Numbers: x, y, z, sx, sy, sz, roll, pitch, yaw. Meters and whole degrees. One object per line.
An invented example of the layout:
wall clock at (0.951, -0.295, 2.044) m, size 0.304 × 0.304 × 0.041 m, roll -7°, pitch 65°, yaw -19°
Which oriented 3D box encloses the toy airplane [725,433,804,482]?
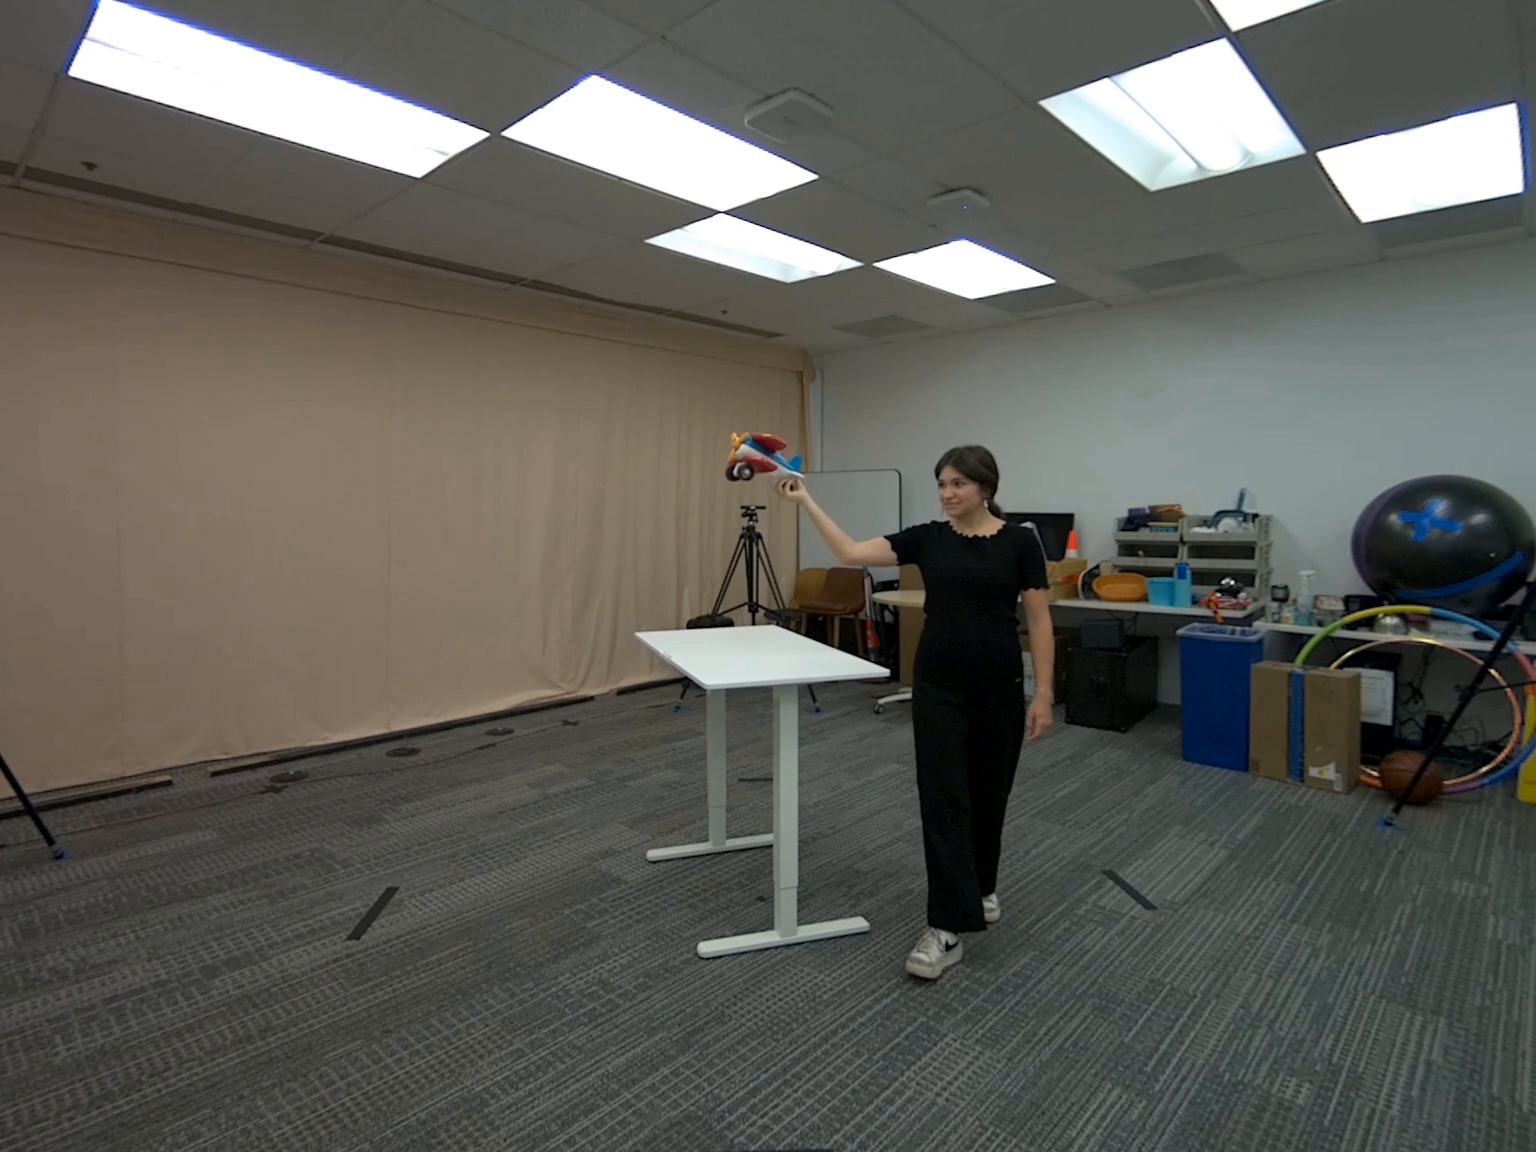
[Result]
toy airplane at (-0.015, -0.371, 2.765) m, size 0.259 × 0.156 × 0.251 m, roll 10°, pitch 0°, yaw 35°
